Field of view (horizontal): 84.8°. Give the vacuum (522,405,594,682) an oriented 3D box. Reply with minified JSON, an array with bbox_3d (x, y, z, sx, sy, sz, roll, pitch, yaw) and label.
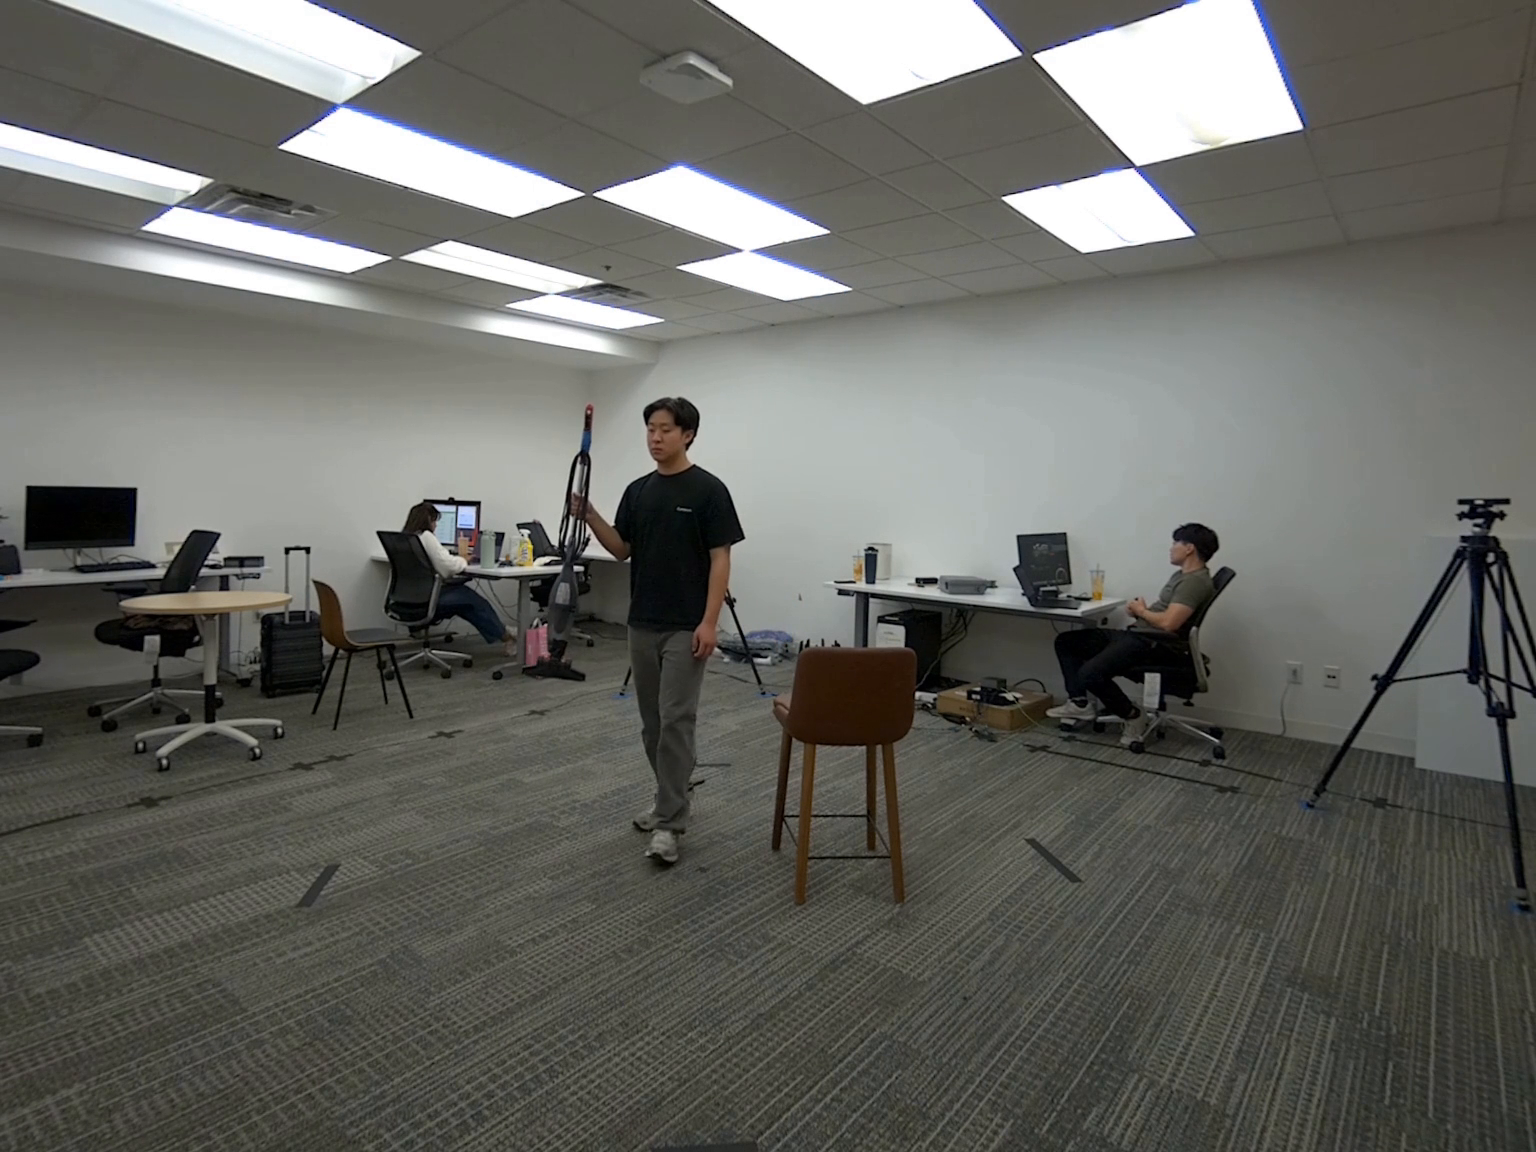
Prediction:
[{"bbox_3d":[-0.793,-0.149,3.336,0.252,1.046,0.145,6,3,-2],"label":"vacuum"}]
